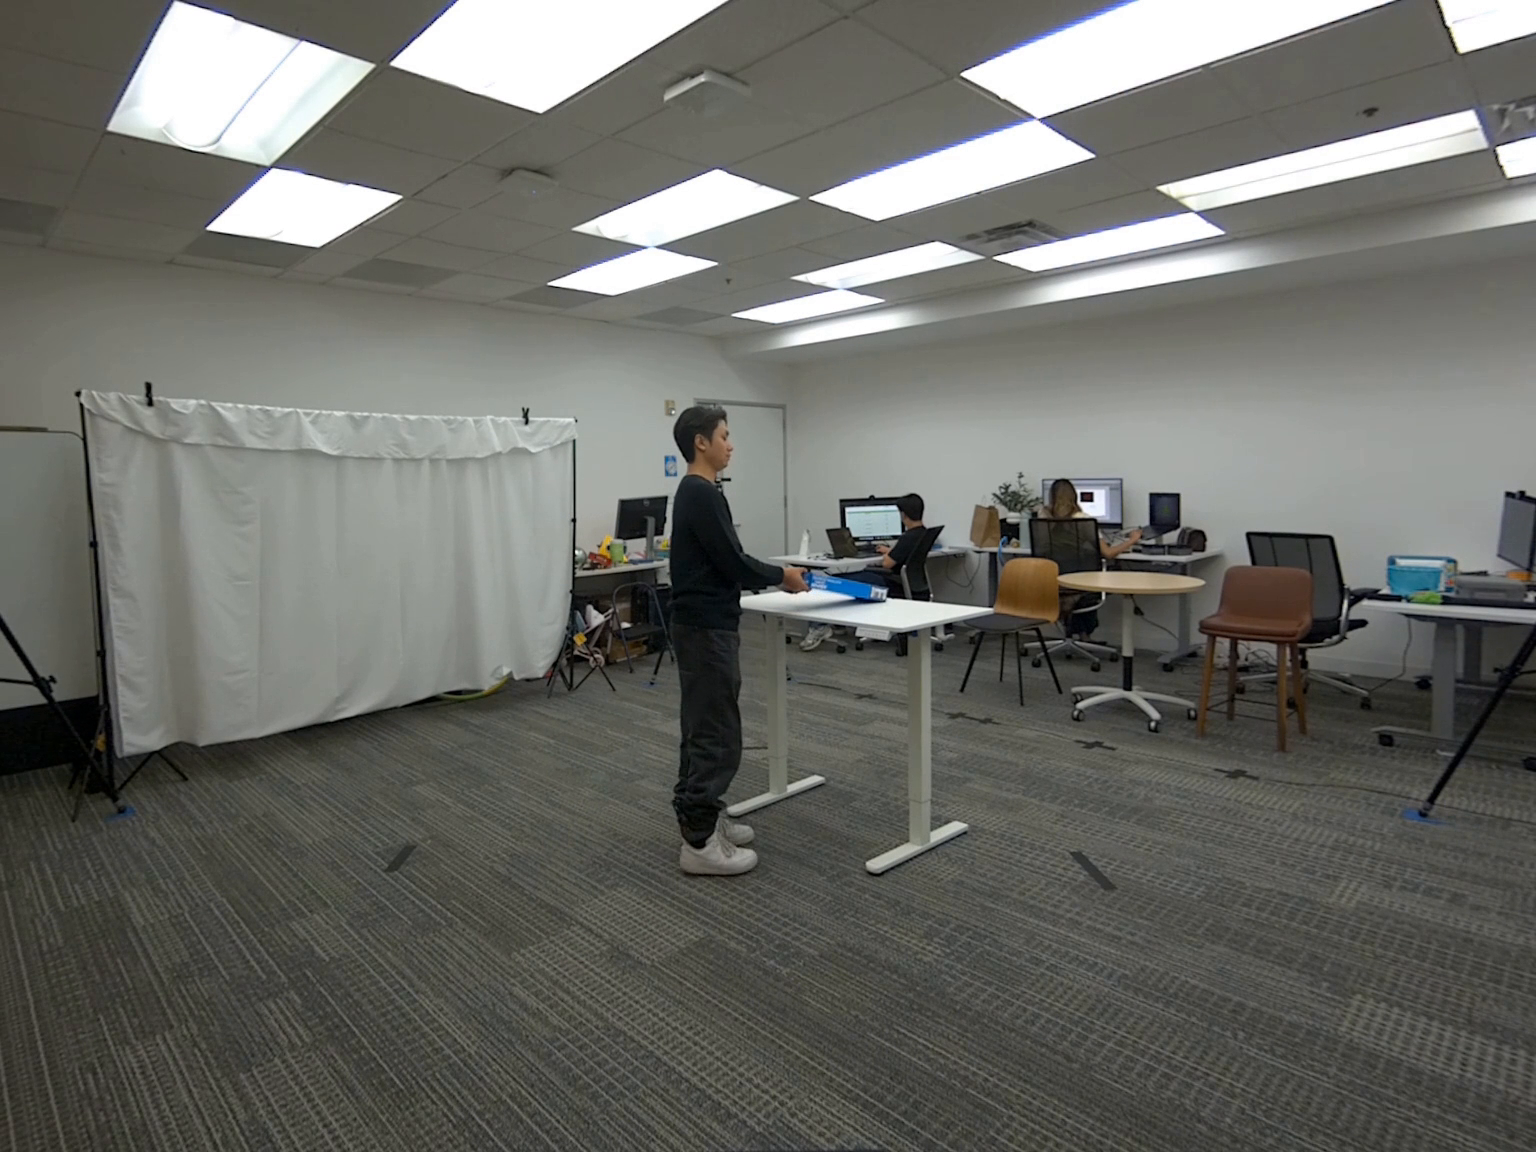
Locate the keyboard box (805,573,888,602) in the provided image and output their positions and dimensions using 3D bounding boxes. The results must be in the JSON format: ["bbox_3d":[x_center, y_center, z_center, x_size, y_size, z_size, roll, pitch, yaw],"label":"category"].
[{"bbox_3d":[0.269,0.038,3.425,0.423,0.059,0.181,11,-3,-38],"label":"keyboard box"}]
